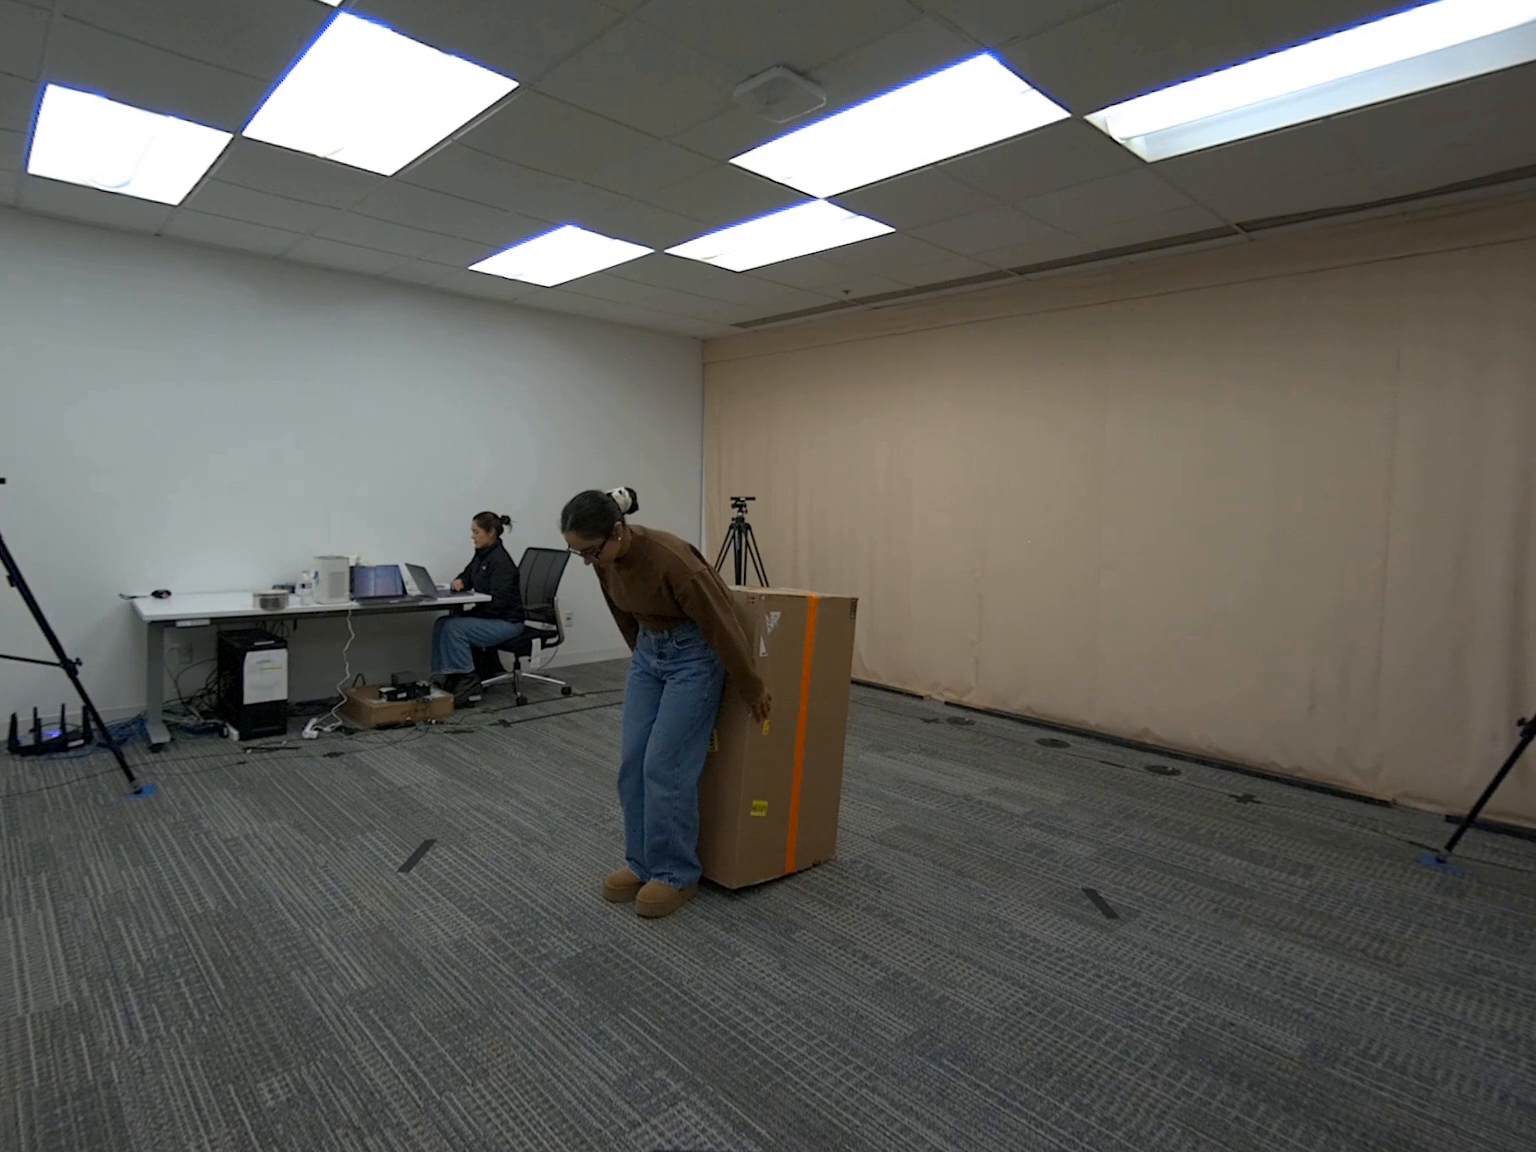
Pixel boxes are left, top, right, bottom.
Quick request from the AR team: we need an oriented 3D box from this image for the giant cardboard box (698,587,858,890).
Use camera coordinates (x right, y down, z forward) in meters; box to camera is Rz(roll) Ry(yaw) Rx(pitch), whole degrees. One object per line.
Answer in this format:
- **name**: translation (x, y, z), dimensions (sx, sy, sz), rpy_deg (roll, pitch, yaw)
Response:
- **giant cardboard box**: translation (-0.035, 0.569, 3.241), dimensions (0.458, 1.027, 0.569), rpy_deg (4, -1, 43)
